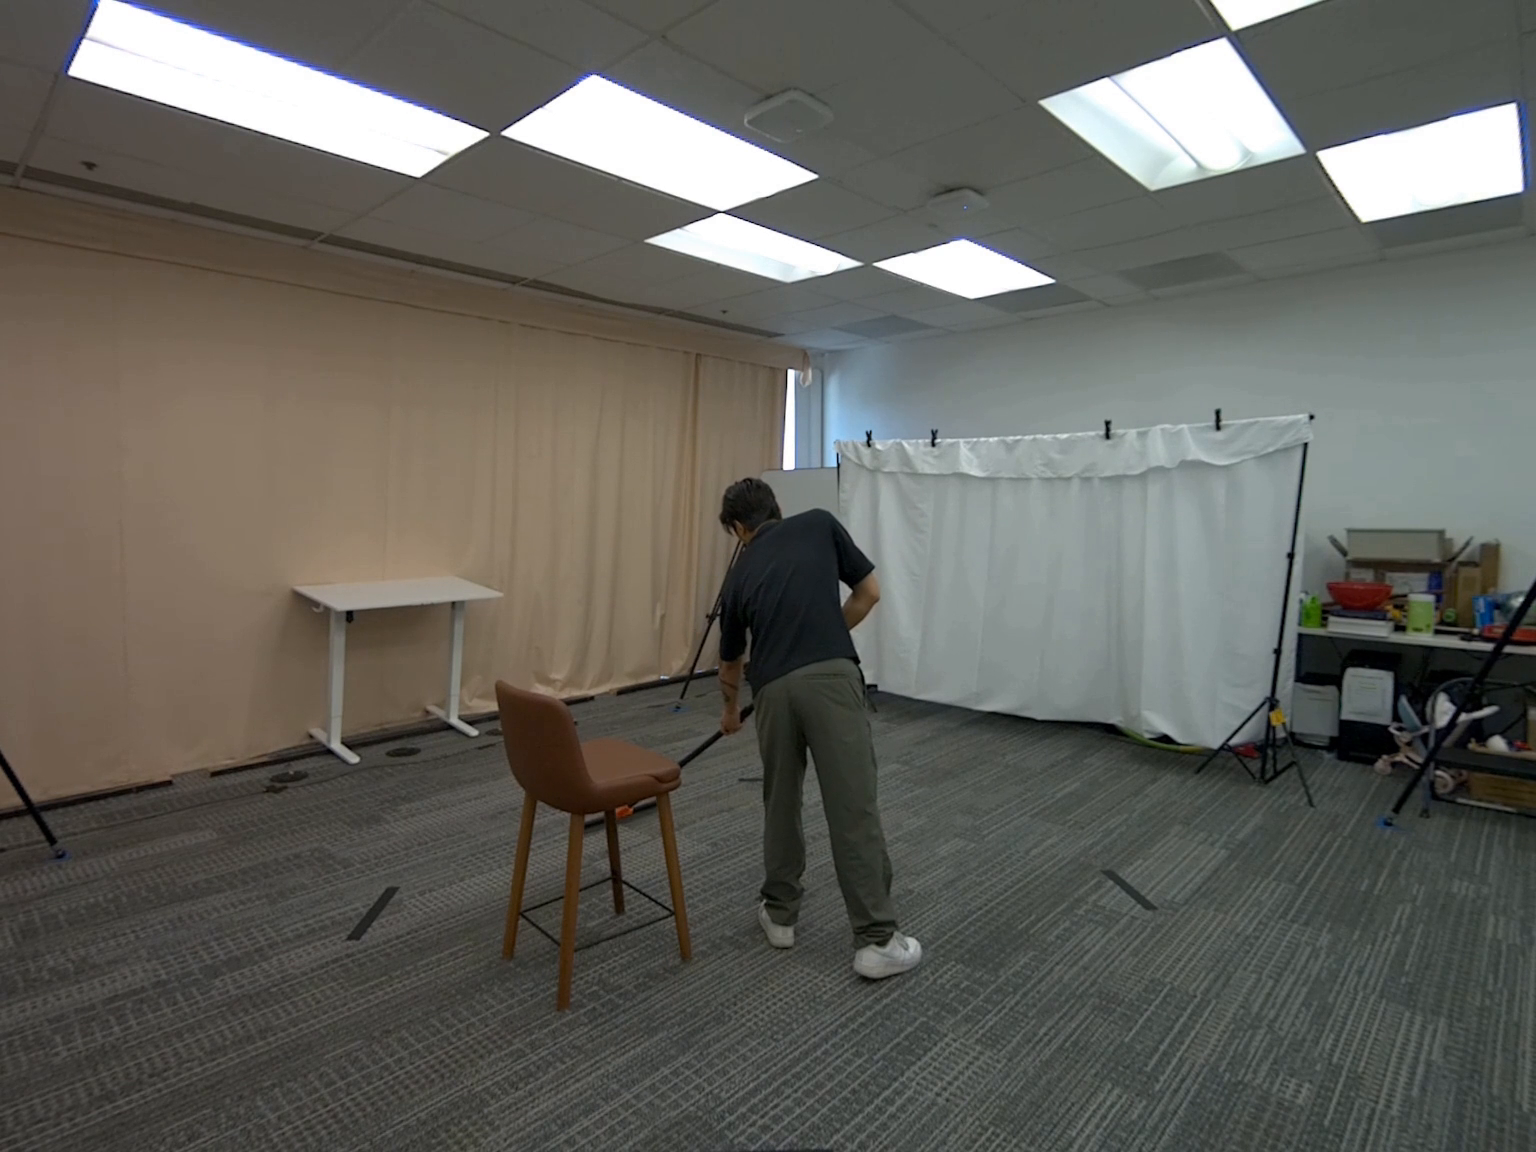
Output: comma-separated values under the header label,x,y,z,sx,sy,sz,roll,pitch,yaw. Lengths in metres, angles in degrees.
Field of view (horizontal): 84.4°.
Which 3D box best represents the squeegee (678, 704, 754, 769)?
label,x,y,z,sx,sy,sz,roll,pitch,yaw
squeegee,-0.216,0.622,3.254,0.424,0.054,1.552,-2,-32,-46
